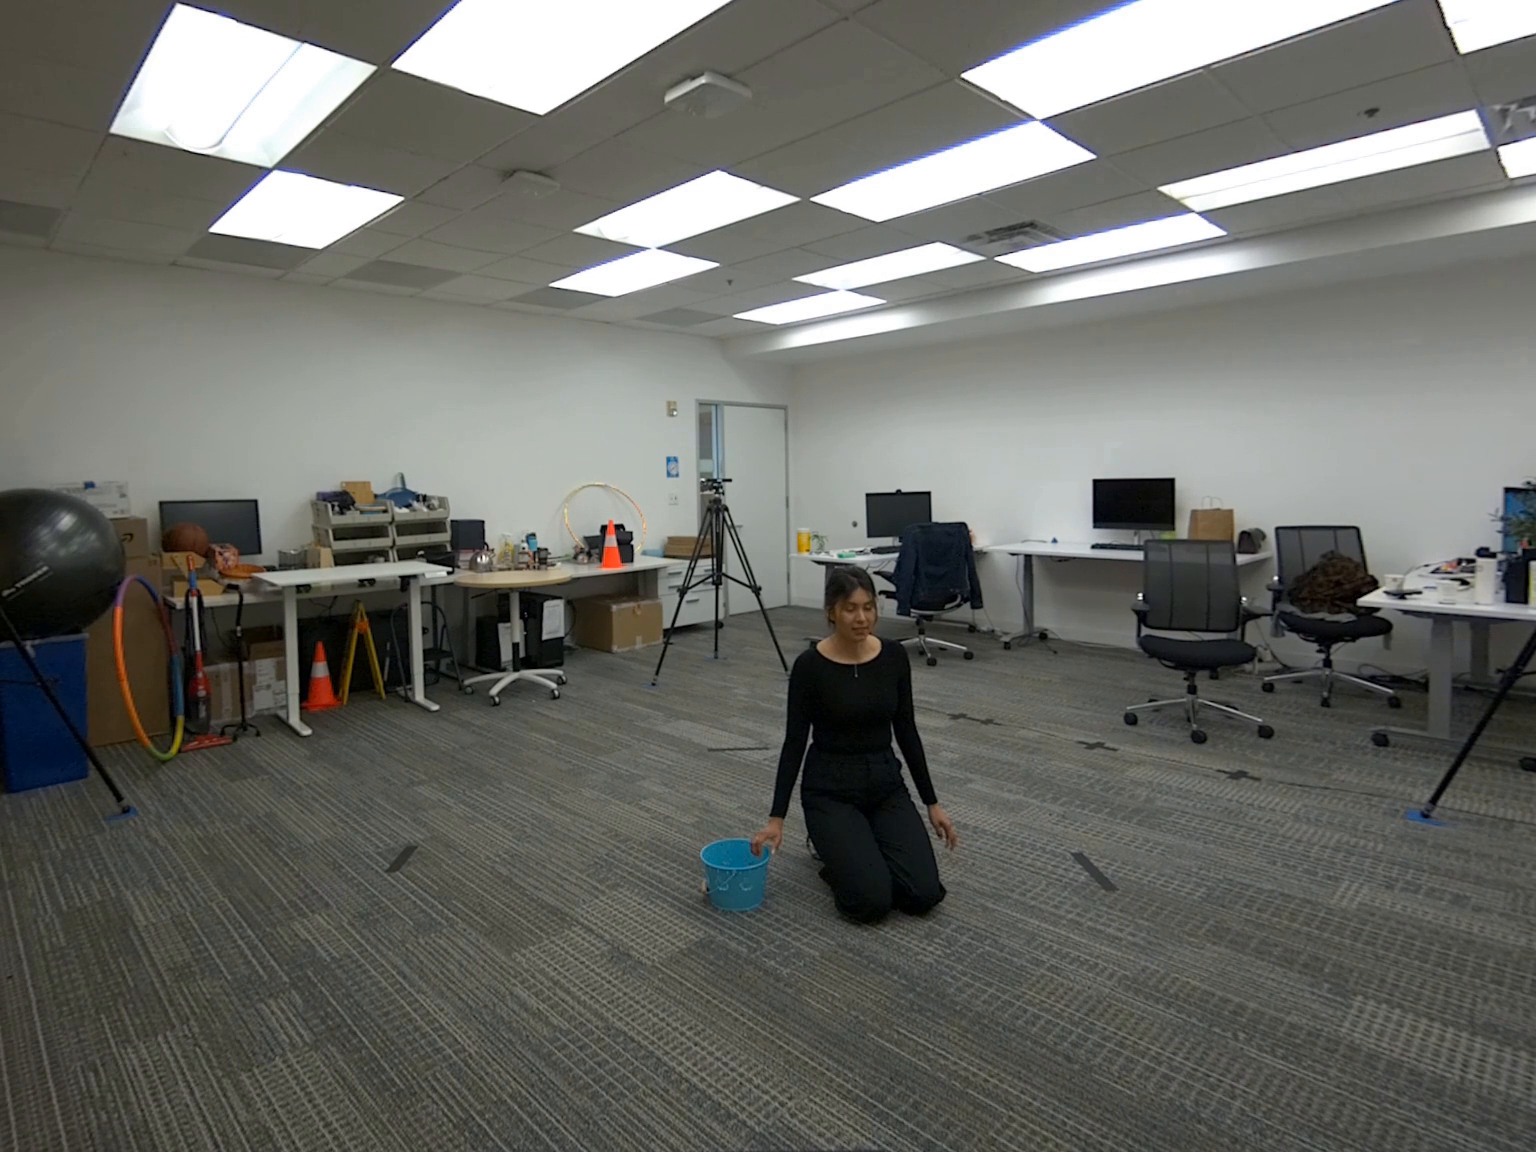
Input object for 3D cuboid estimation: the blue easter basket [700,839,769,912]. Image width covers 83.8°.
[{"bbox_3d":[-0.104,0.998,2.857,0.243,0.155,0.245,-2,6,-2],"label":"blue easter basket"}]
